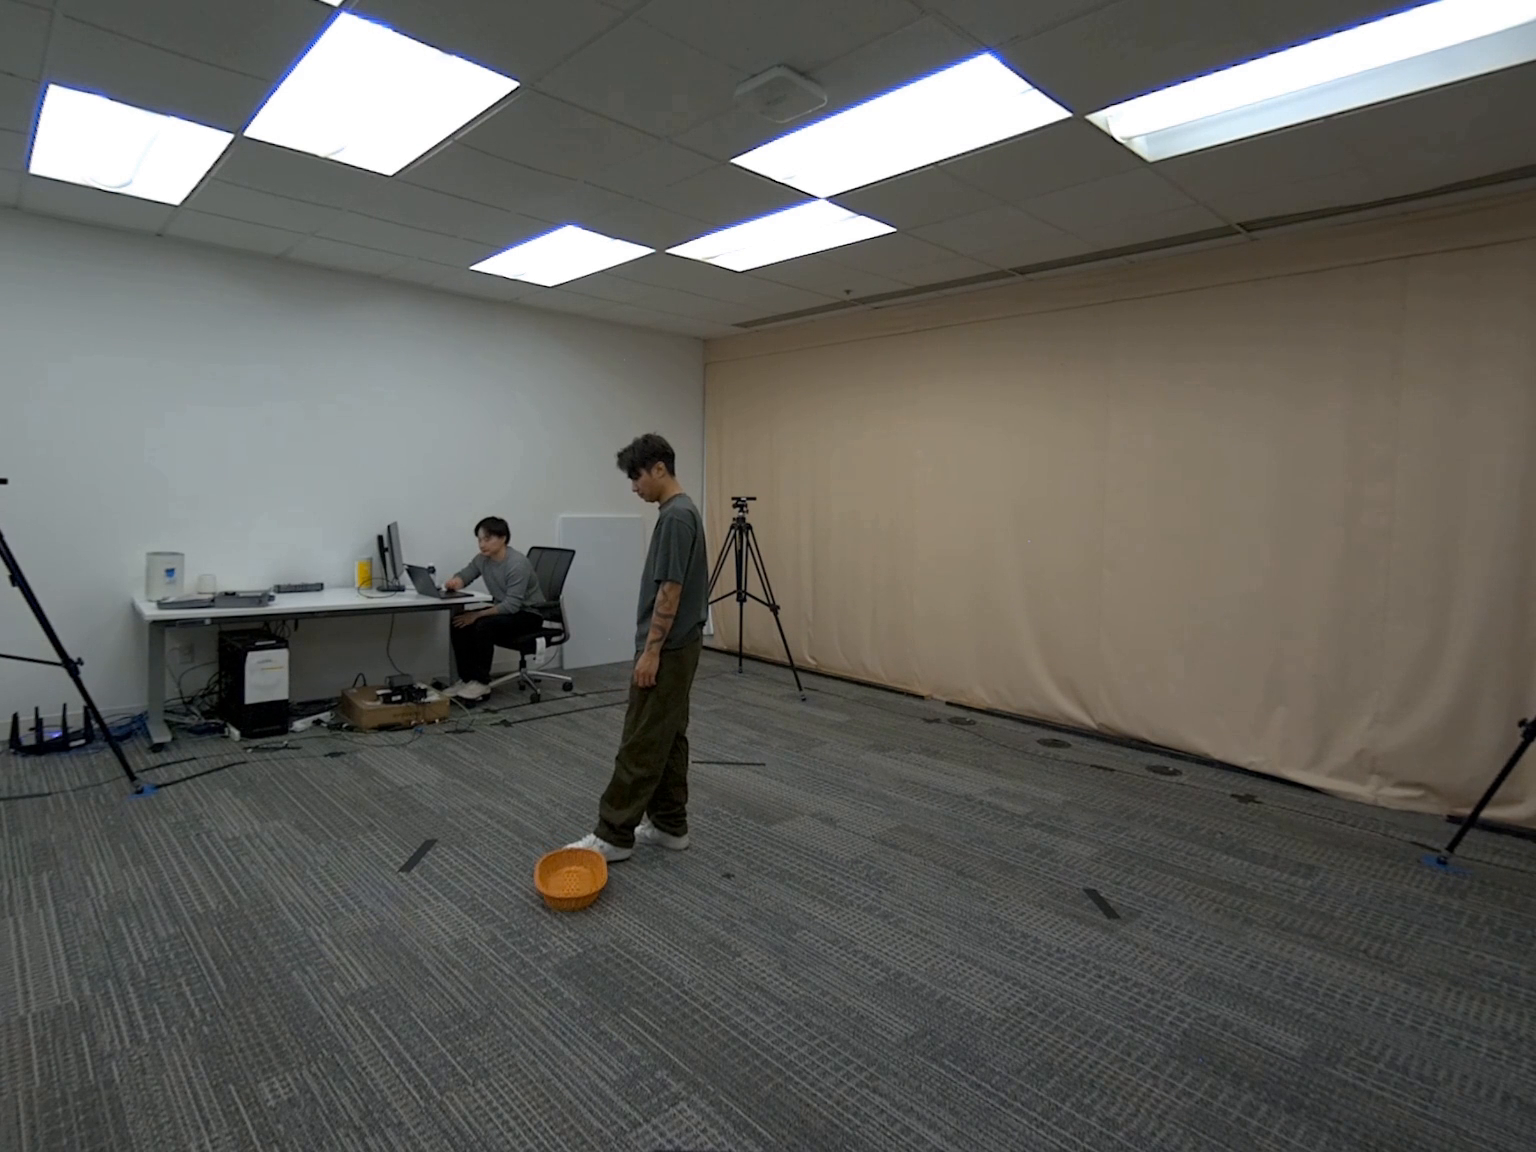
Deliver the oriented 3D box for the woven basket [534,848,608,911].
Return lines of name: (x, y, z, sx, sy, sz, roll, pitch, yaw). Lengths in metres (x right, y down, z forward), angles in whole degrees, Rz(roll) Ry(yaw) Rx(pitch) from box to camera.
woven basket: (-0.704, 1.069, 2.945, 0.250, 0.073, 0.355, 1, 8, -10)
